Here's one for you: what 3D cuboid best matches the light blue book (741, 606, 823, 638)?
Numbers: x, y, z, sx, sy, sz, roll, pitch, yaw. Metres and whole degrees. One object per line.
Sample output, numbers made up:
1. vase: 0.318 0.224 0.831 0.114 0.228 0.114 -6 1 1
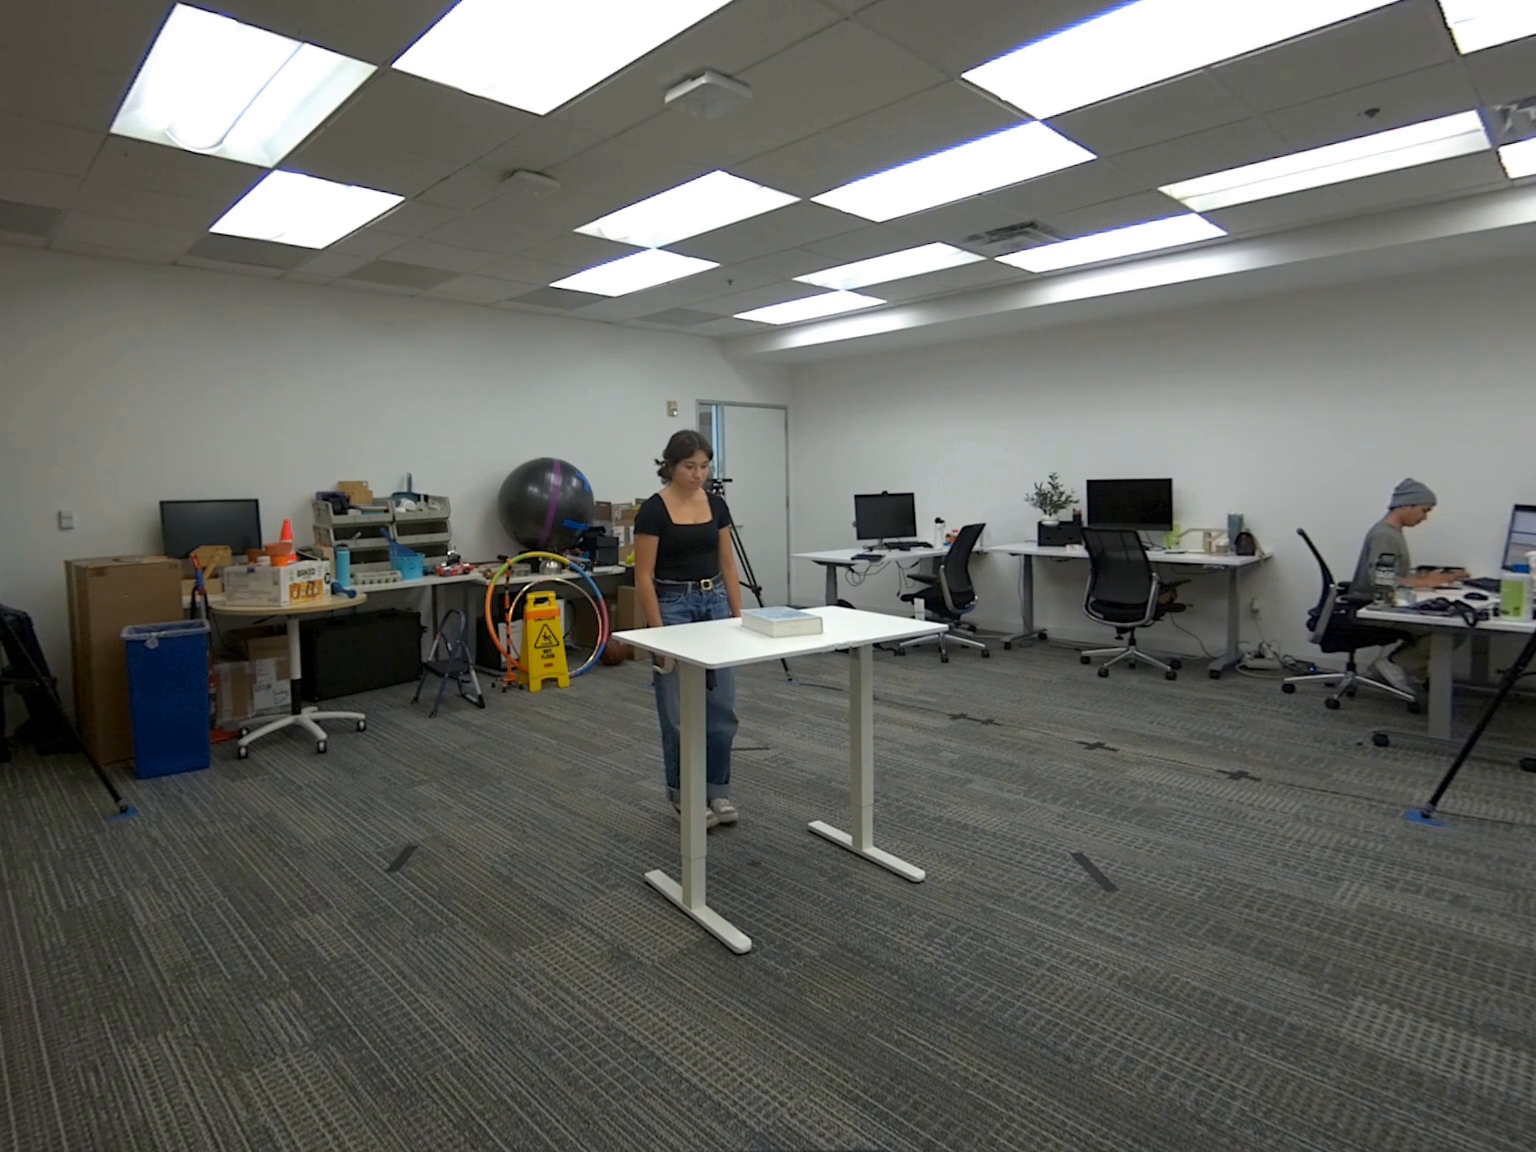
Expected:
1. light blue book: 0.042 0.156 2.893 0.187 0.059 0.268 -3 7 -25
